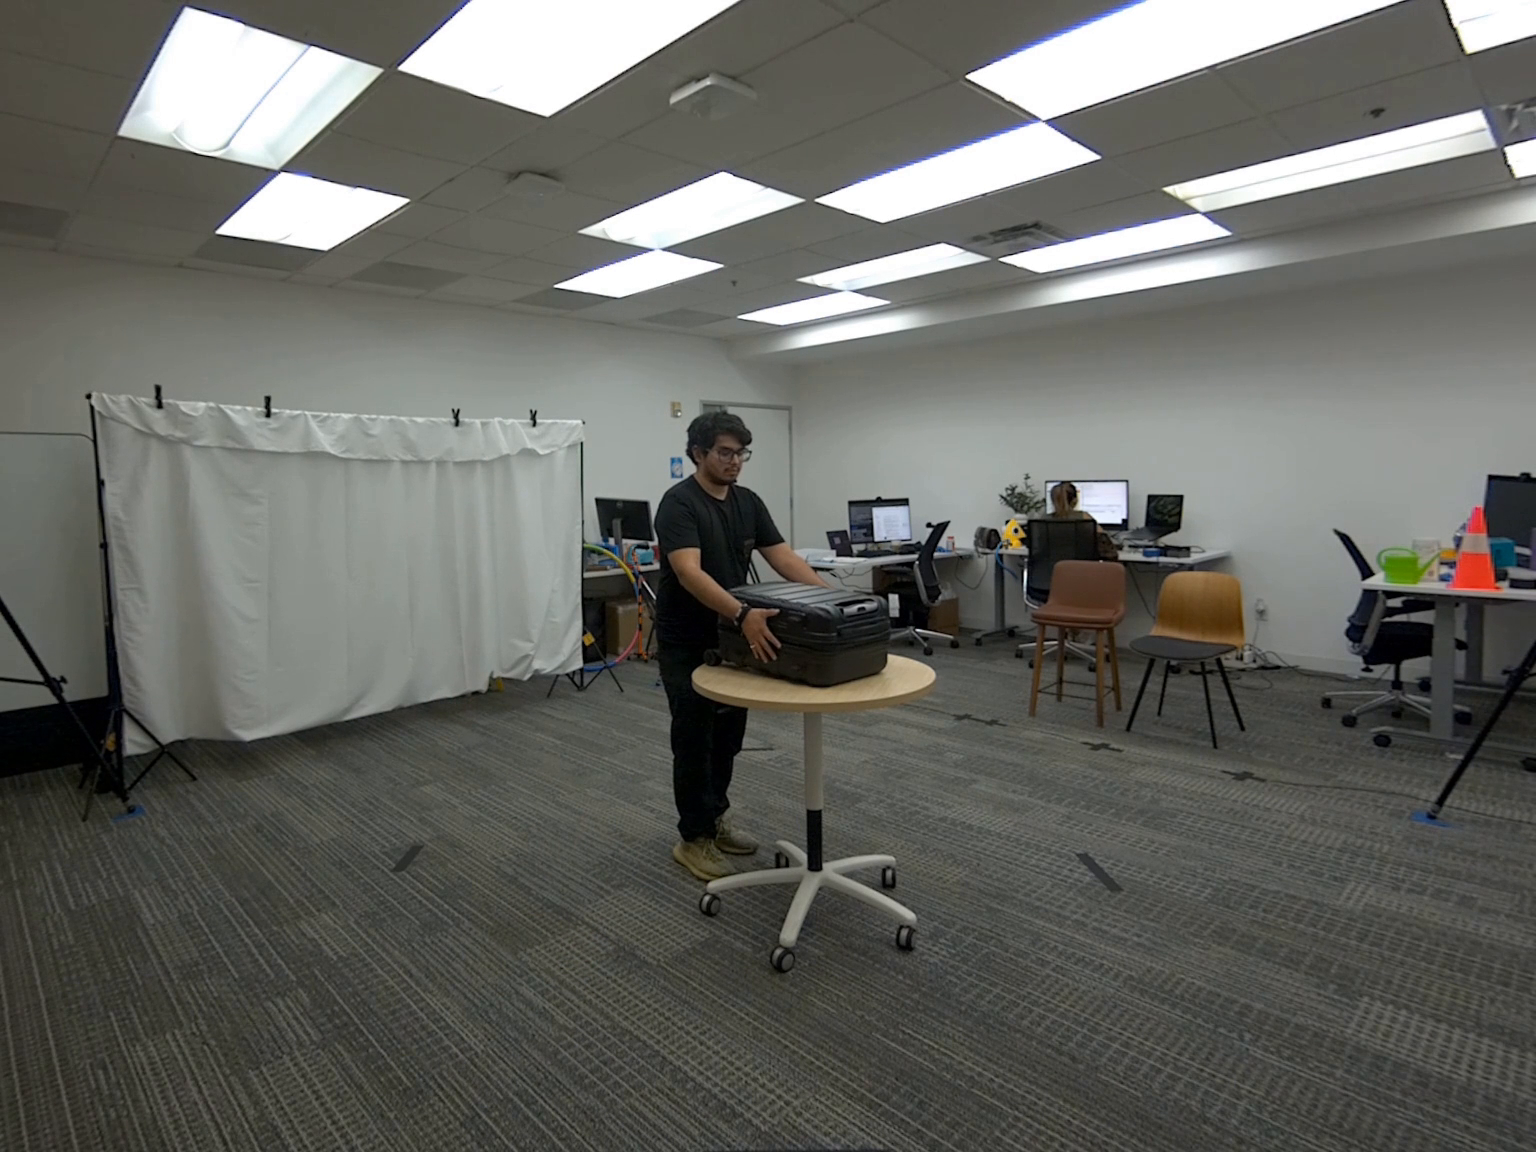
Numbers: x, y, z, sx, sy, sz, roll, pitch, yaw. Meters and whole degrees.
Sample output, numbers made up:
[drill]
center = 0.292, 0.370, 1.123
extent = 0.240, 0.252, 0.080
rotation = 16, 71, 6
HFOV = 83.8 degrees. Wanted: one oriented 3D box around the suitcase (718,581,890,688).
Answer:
[suitcase]
center = 0.105, 0.178, 2.756
extent = 0.365, 0.247, 0.567
rotation = -5, 8, -44
